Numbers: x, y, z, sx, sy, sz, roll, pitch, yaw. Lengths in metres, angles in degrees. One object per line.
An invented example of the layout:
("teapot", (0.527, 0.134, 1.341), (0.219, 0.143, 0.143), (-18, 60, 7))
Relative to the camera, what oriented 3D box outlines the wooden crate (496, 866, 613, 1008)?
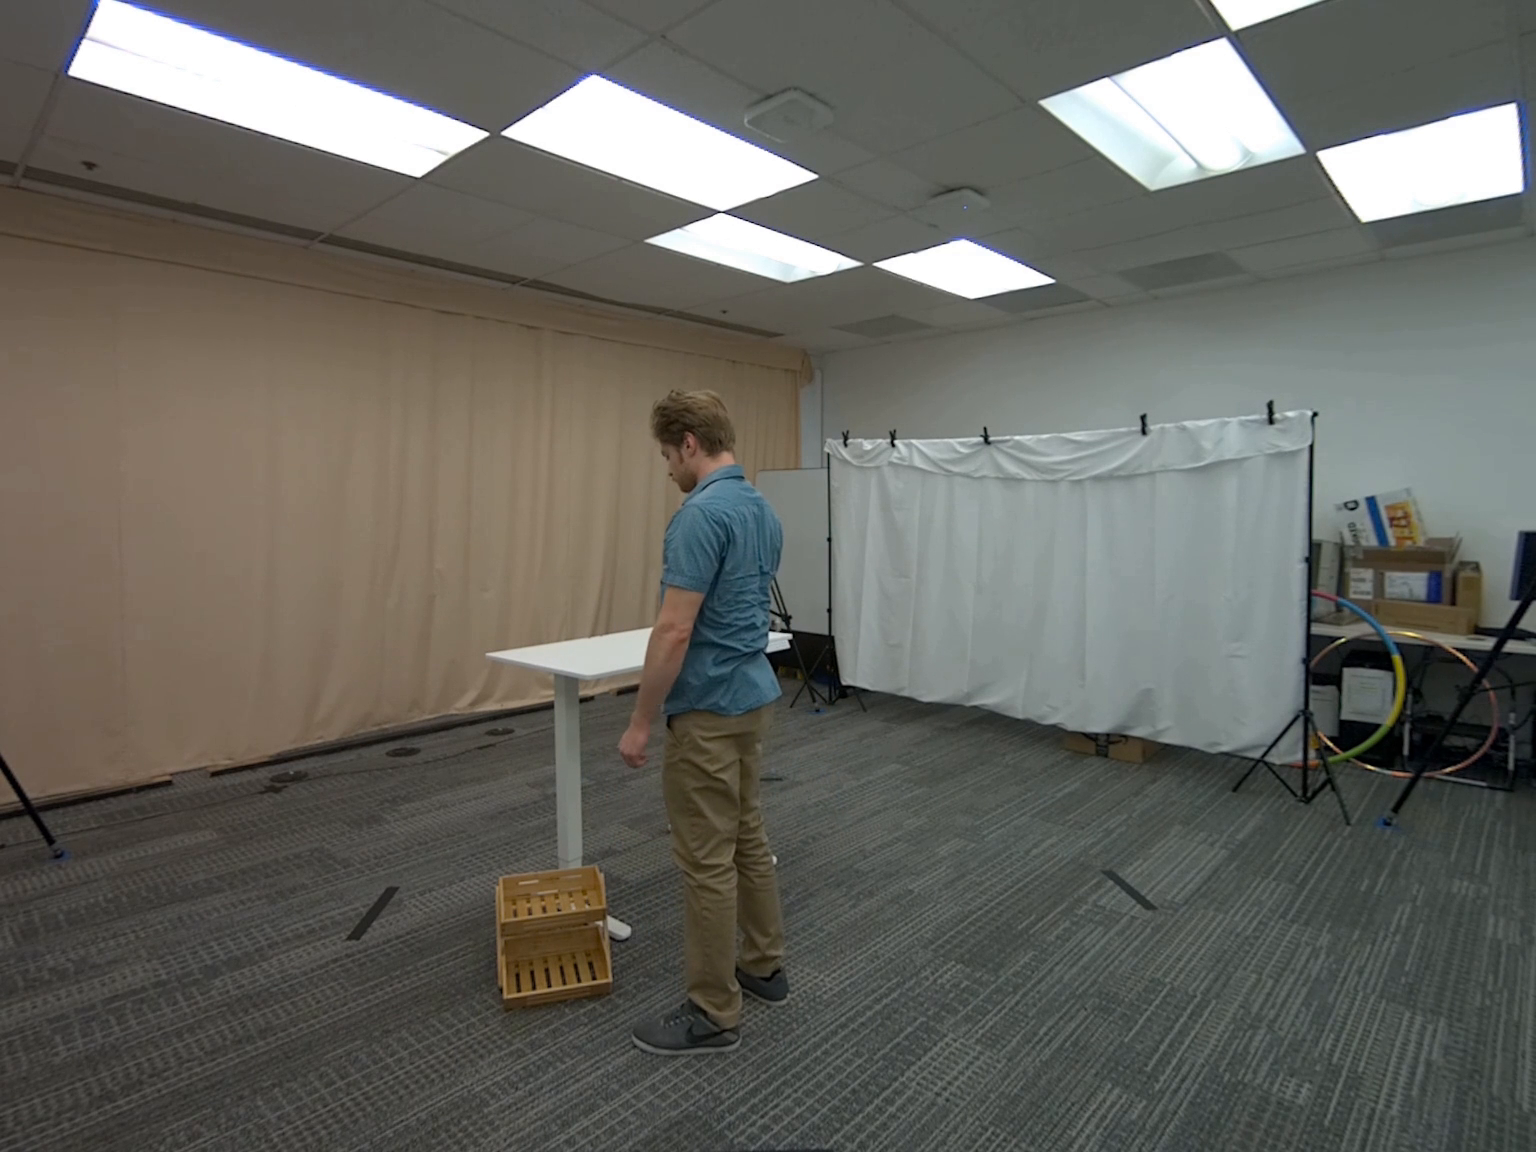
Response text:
("wooden crate", (-0.630, 1.055, 2.480), (0.318, 0.273, 0.308), (-1, 3, -19))
